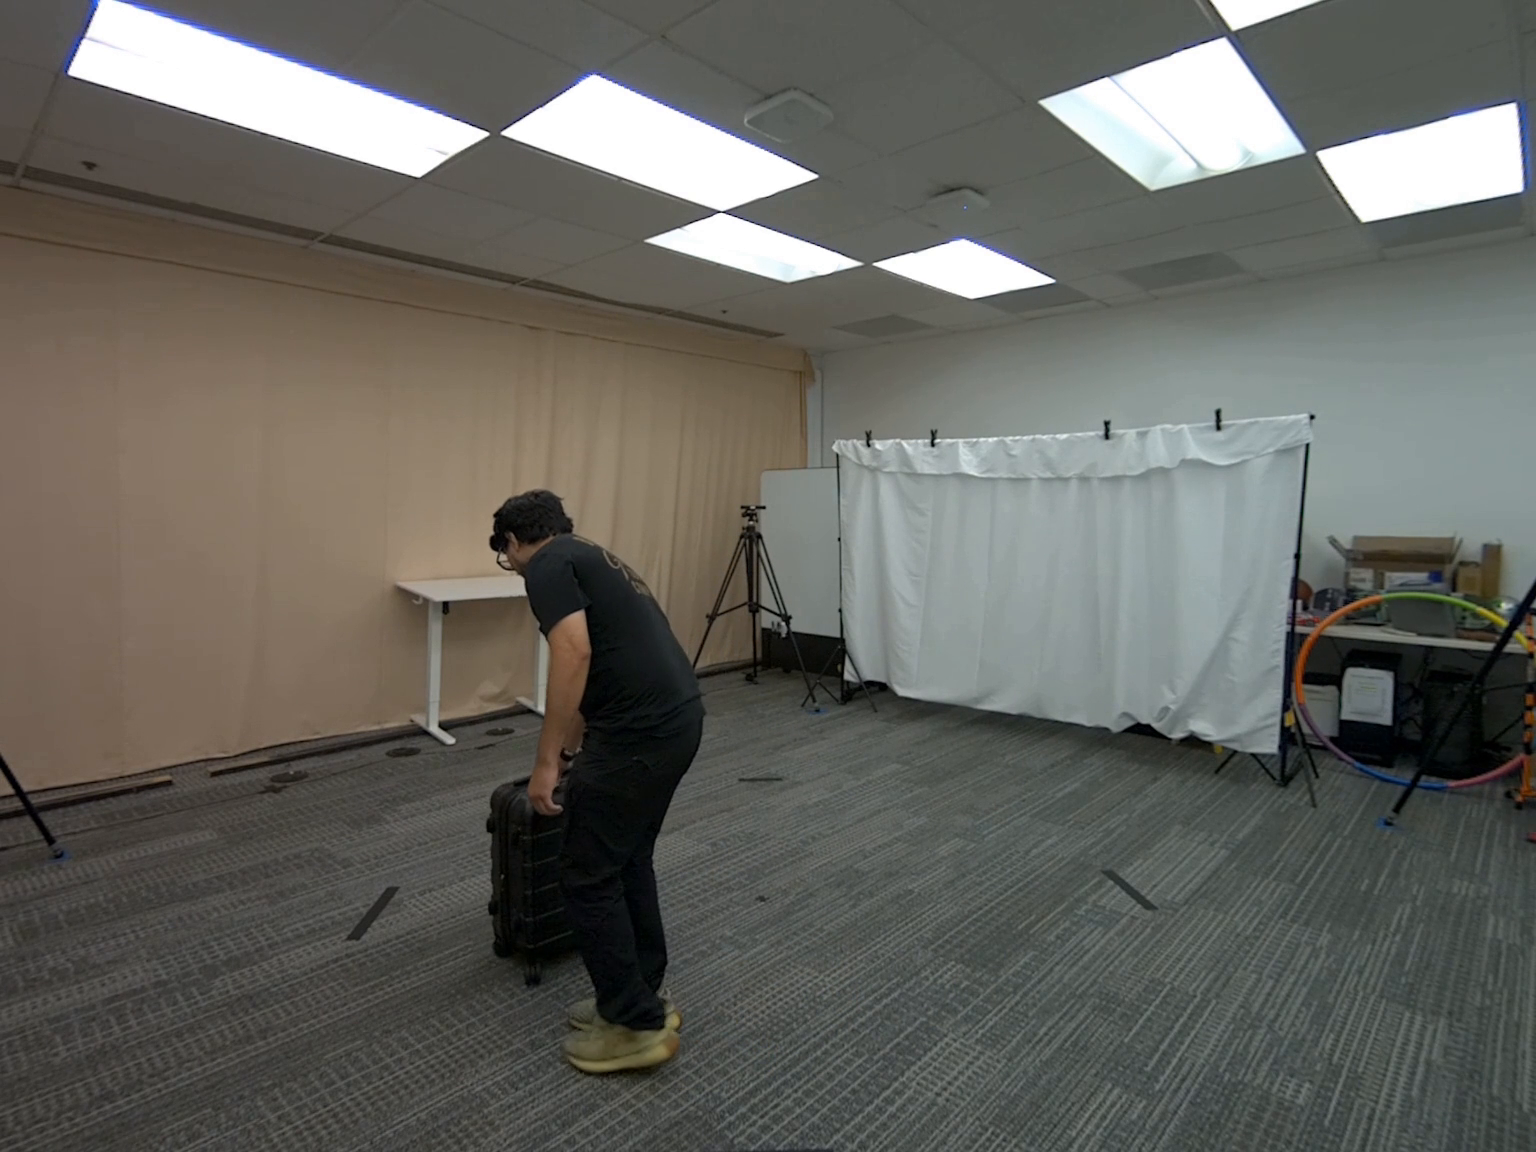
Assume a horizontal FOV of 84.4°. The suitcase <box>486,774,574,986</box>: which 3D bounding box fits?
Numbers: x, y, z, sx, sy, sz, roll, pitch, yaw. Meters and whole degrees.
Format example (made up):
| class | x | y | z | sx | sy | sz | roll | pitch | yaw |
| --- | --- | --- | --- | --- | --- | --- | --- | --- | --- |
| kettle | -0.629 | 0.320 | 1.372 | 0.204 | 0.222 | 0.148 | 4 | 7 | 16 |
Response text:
| class | x | y | z | sx | sy | sz | roll | pitch | yaw |
| --- | --- | --- | --- | --- | --- | --- | --- | --- | --- |
| suitcase | -0.671 | 0.900 | 2.642 | 0.364 | 0.548 | 0.256 | -4 | 3 | -44 |
